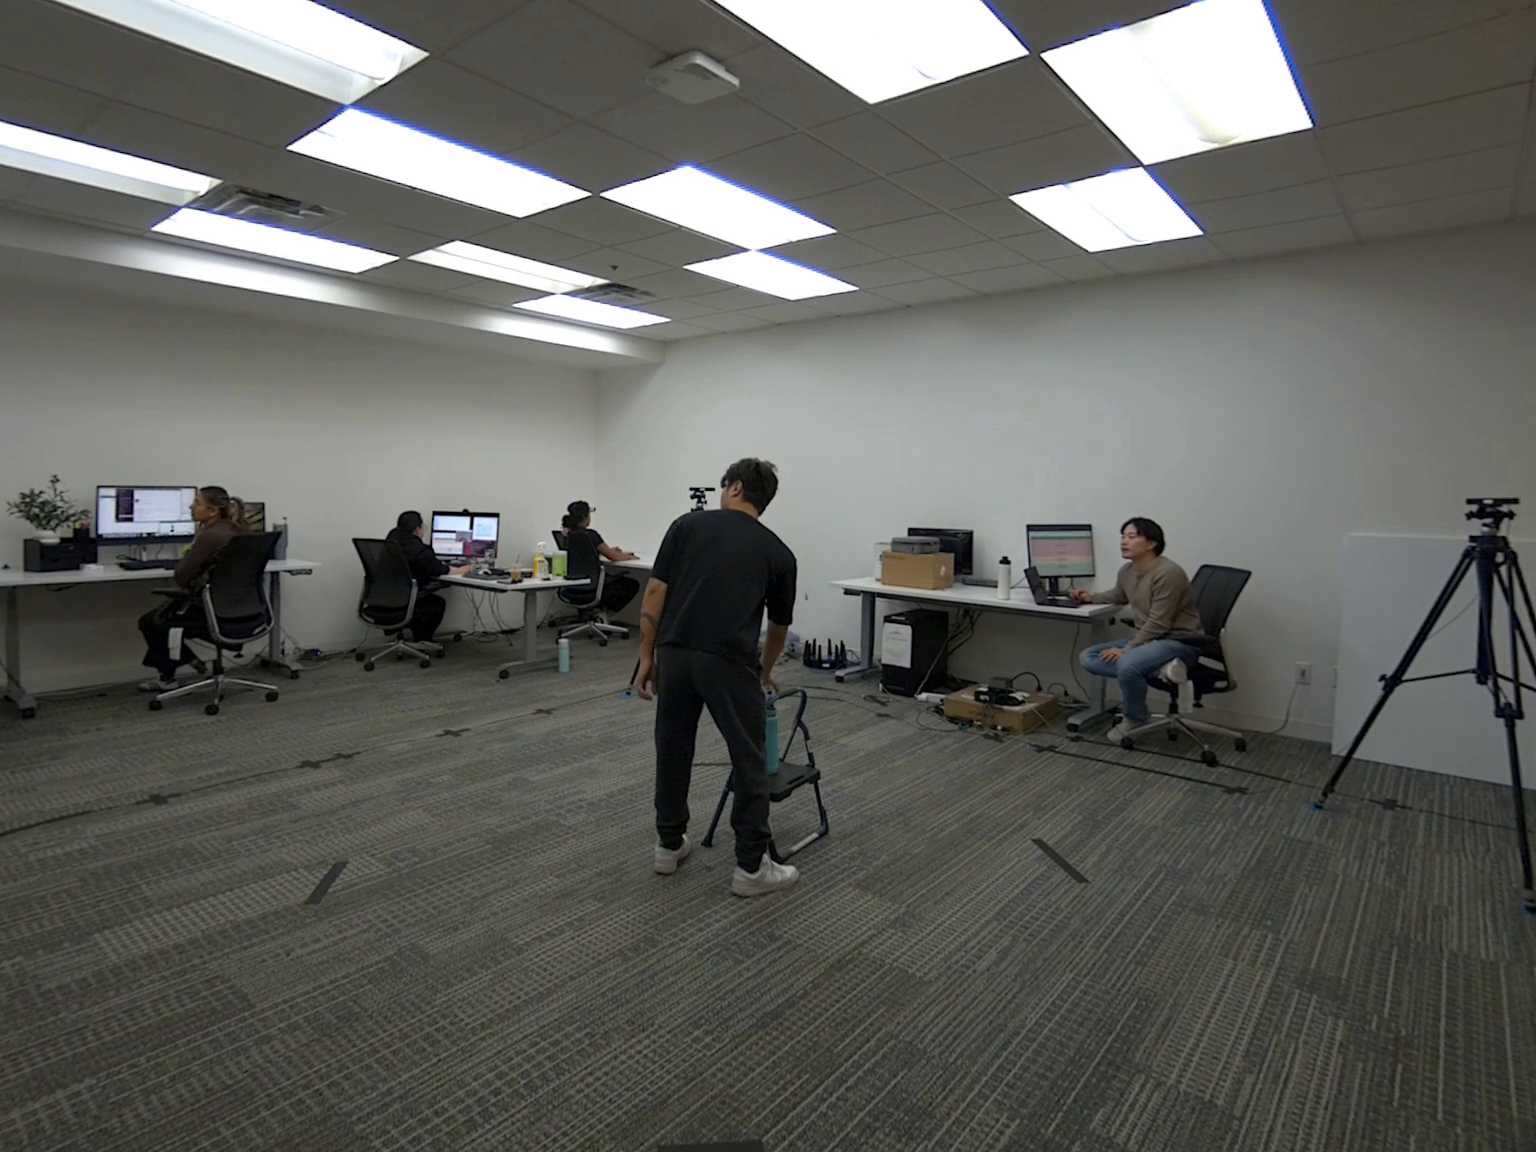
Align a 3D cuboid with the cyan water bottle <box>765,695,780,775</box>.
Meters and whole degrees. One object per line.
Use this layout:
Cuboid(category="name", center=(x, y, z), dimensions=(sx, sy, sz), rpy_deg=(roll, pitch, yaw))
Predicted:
Cuboid(category="cyan water bottle", center=(-0.010, 0.640, 3.405), dimensions=(0.092, 0.283, 0.092), rpy_deg=(1, 2, -2))
